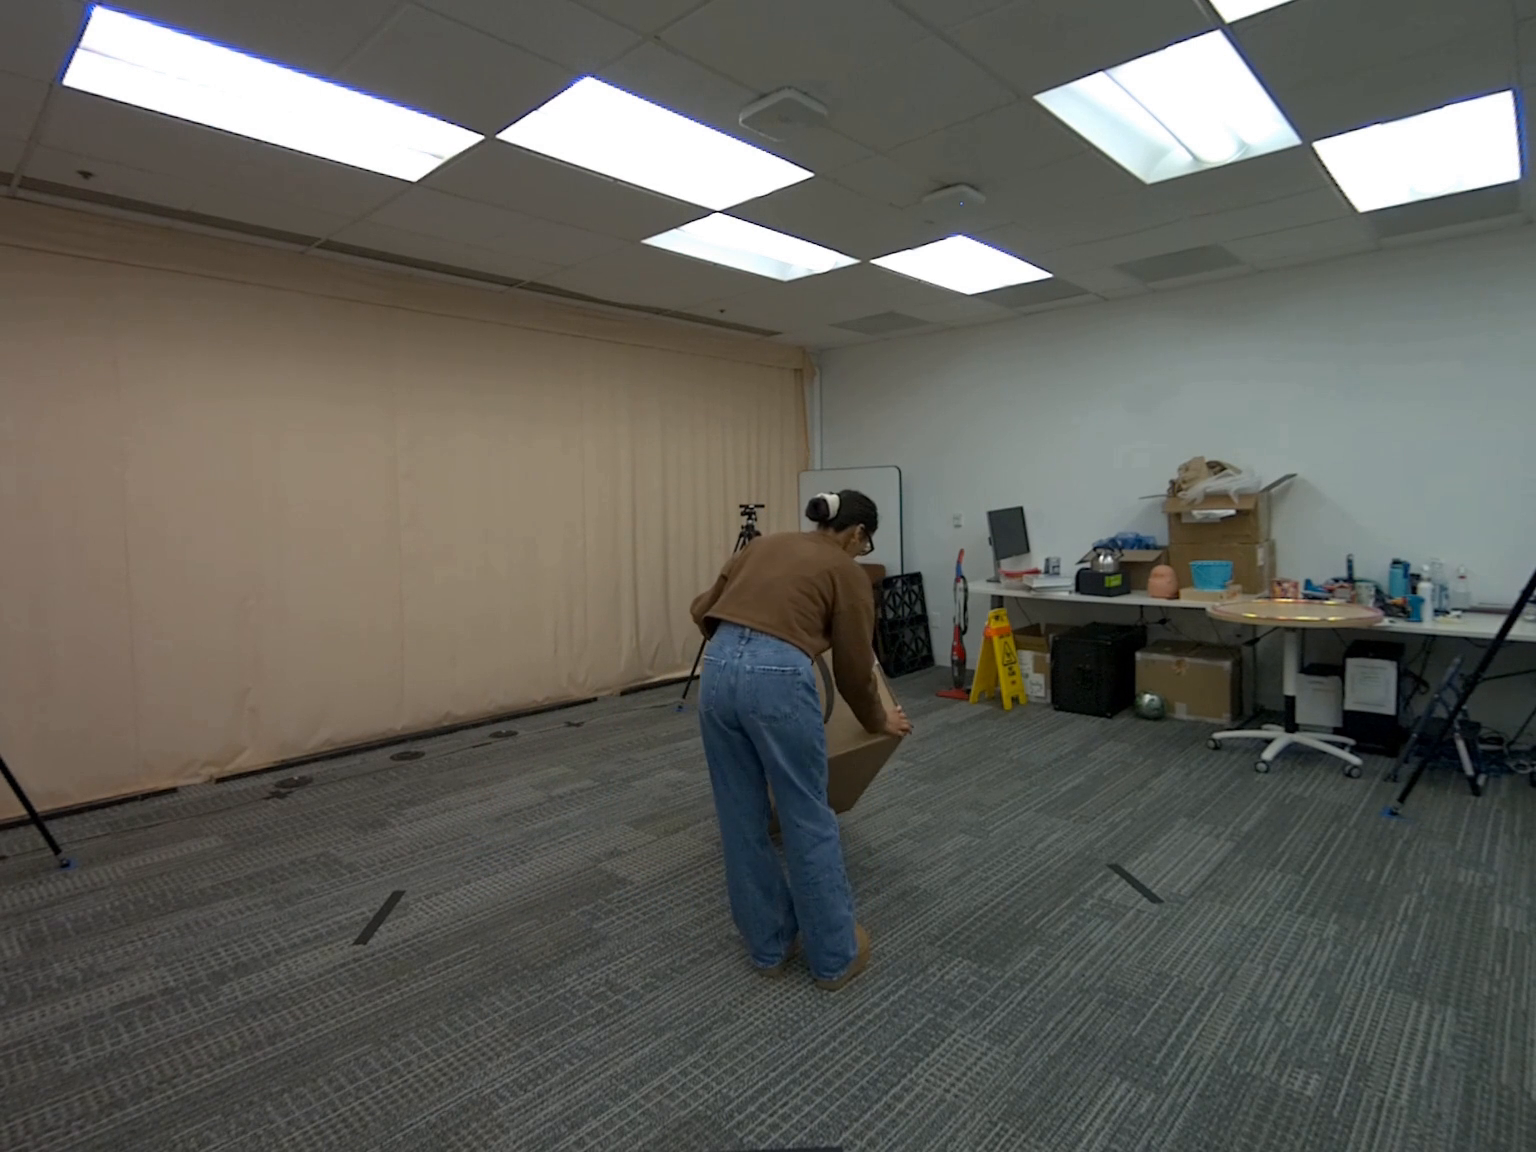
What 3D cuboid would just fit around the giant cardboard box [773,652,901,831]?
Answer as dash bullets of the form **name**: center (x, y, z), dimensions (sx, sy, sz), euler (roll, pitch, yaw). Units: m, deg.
- **giant cardboard box**: center (0.110, 0.573, 3.252), dimensions (0.441, 0.598, 1.015), euler (-16, -27, -16)
